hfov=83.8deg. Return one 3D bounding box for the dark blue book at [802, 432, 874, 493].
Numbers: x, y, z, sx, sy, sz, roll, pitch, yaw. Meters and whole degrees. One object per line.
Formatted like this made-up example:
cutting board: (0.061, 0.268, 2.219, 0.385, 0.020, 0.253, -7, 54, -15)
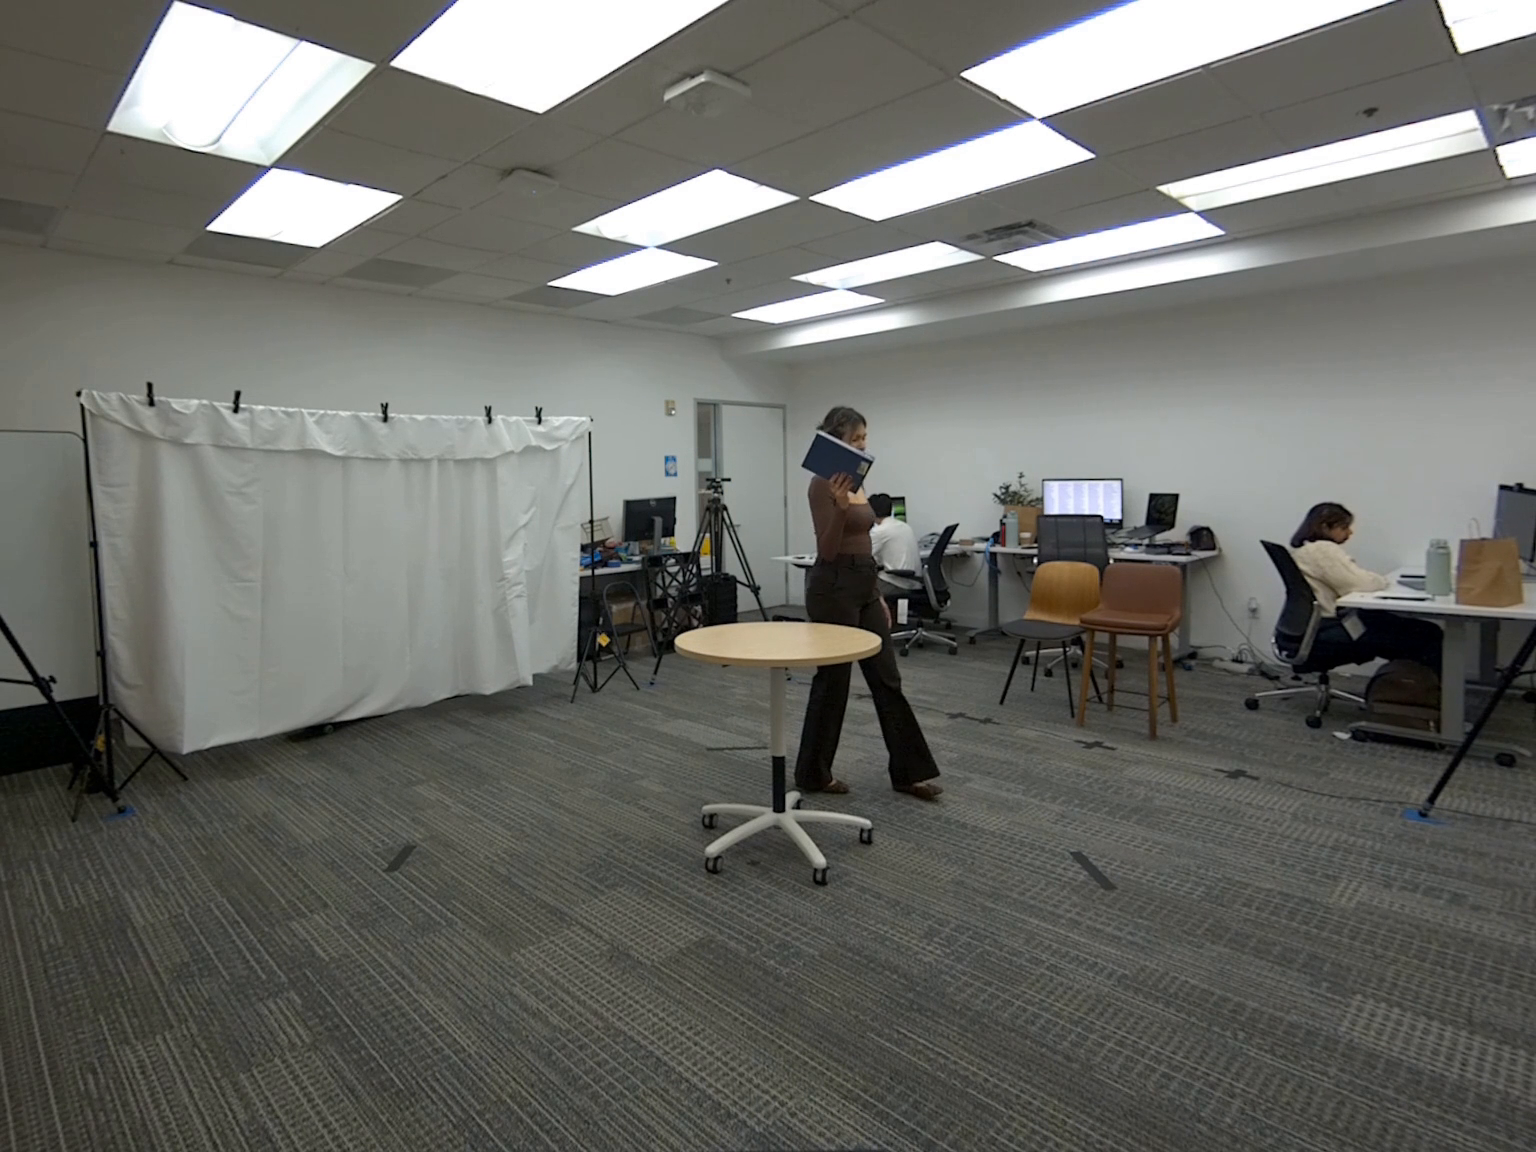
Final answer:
dark blue book: (0.273, -0.447, 3.347, 0.247, 0.161, 0.045, 28, 35, 4)
